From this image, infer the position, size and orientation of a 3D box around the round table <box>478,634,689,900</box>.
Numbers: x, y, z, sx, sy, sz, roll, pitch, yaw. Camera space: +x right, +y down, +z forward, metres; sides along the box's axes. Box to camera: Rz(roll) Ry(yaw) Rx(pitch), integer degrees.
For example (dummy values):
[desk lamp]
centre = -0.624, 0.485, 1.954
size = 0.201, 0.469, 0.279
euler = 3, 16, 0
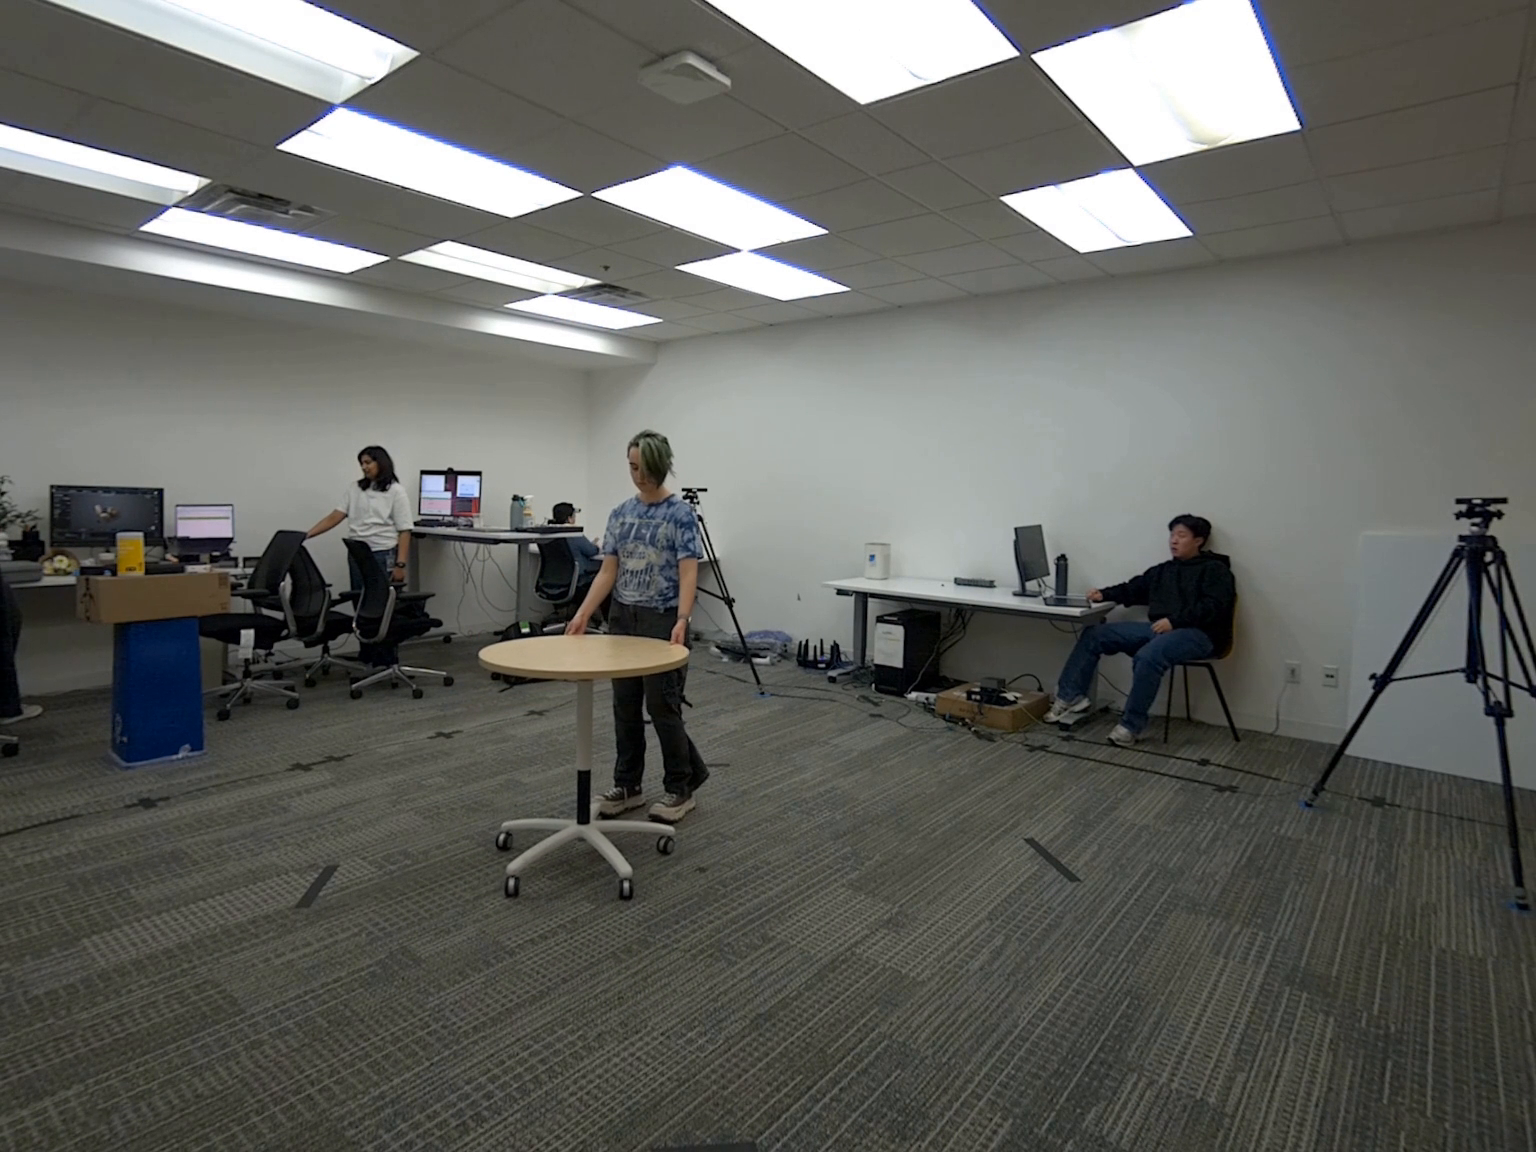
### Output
[round table]
centre = -0.688, 0.668, 3.146
size = 0.763, 0.792, 0.767
euler = 1, 3, -2
